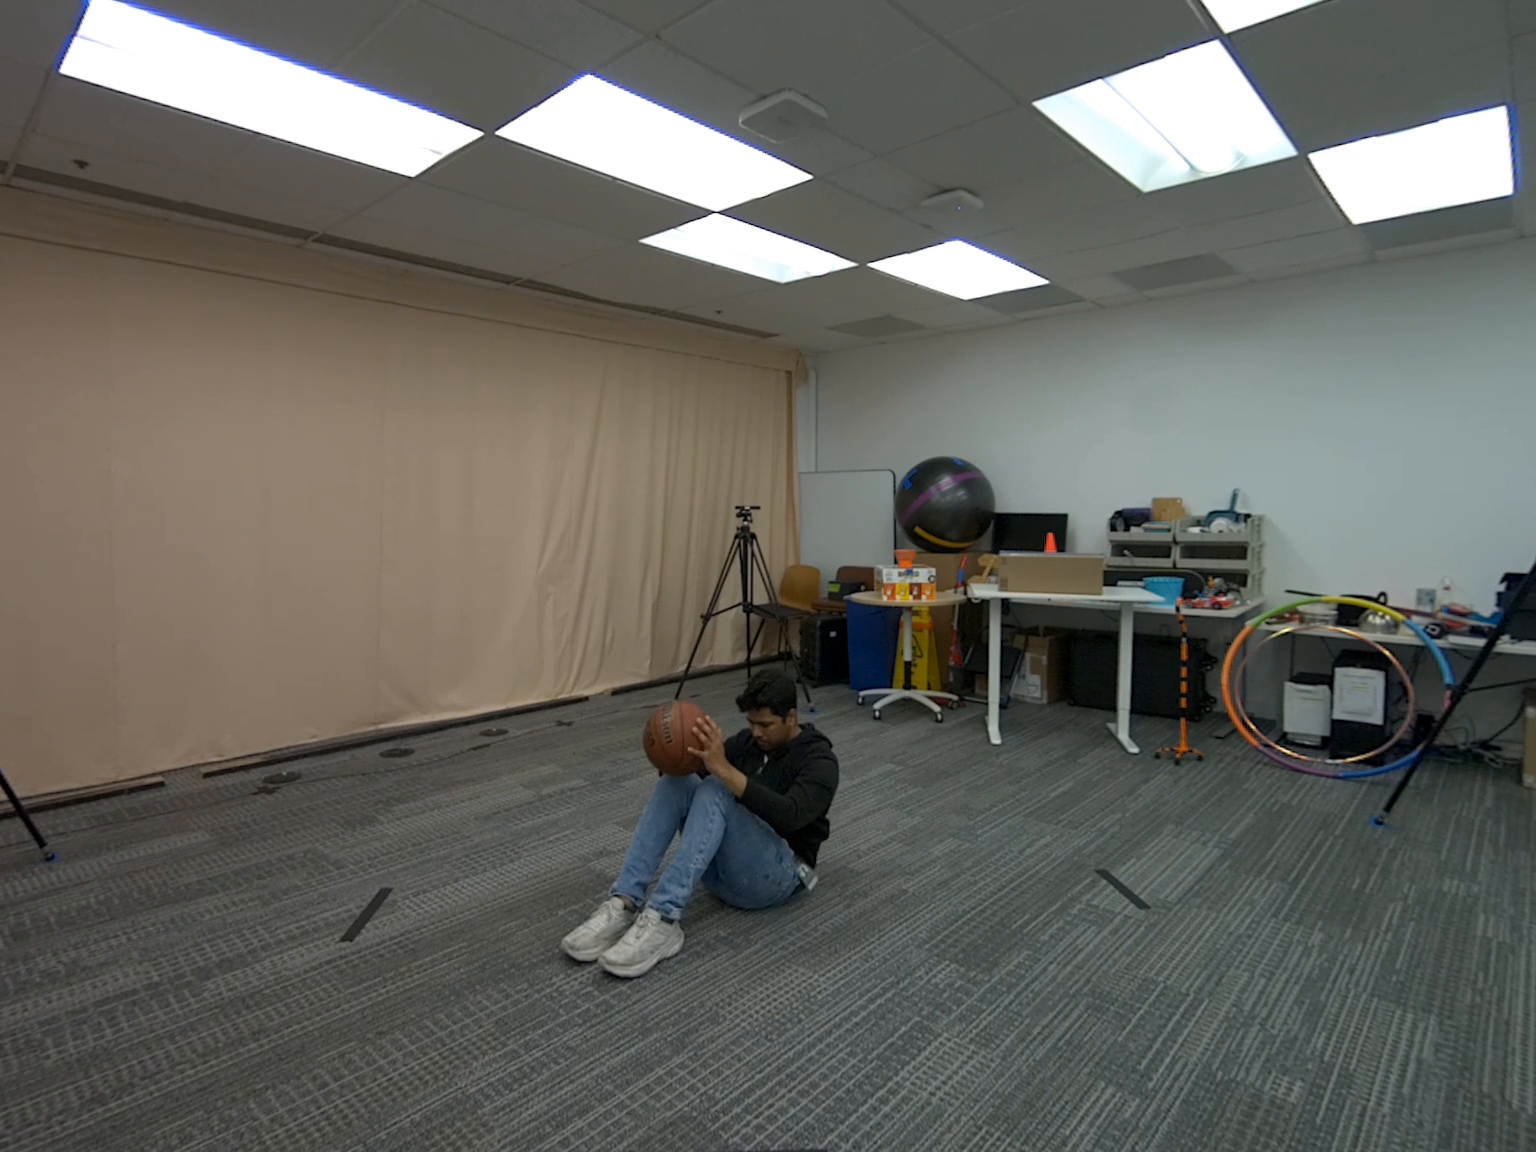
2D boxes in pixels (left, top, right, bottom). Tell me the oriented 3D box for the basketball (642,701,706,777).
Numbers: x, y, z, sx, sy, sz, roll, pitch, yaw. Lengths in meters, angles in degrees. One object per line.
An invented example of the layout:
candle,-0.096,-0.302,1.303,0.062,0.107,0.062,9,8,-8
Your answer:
basketball,-0.282,0.536,2.744,0.236,0.235,0.237,0,4,-2
